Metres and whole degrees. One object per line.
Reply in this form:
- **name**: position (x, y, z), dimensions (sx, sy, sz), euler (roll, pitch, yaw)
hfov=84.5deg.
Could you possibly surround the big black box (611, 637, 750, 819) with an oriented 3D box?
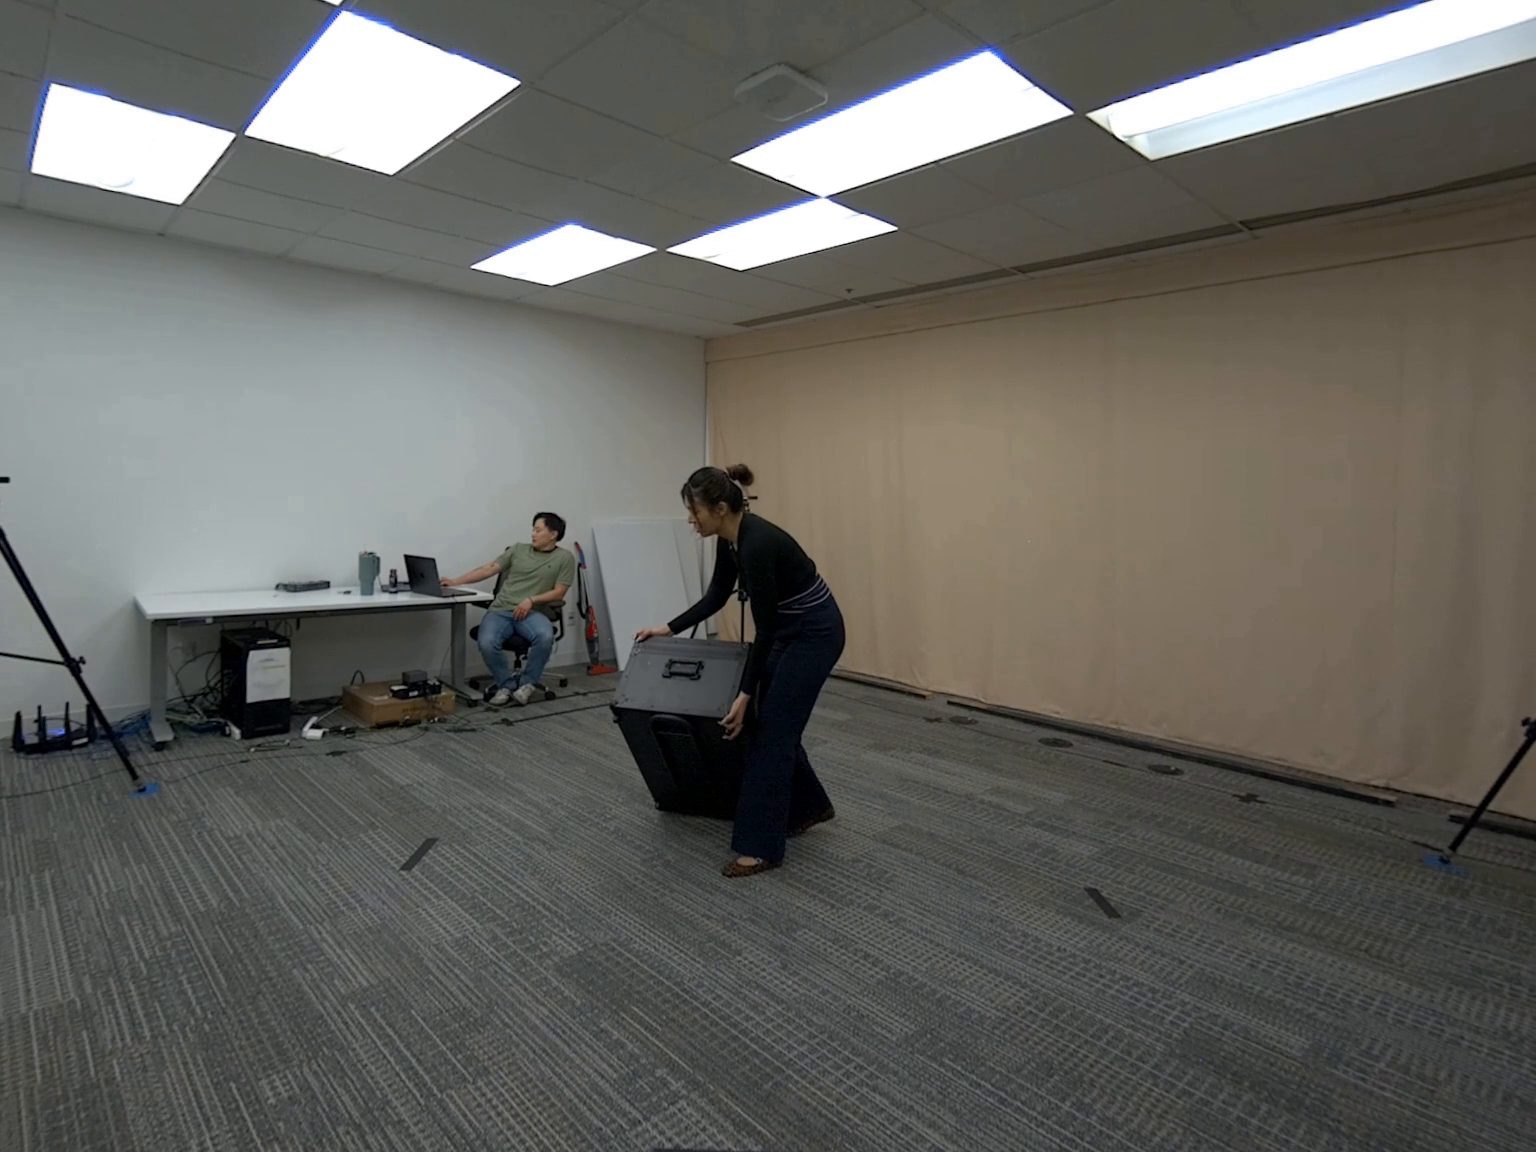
- **big black box**: position (-0.273, 0.671, 3.490), dimensions (0.528, 0.838, 0.401), euler (4, 47, 15)
